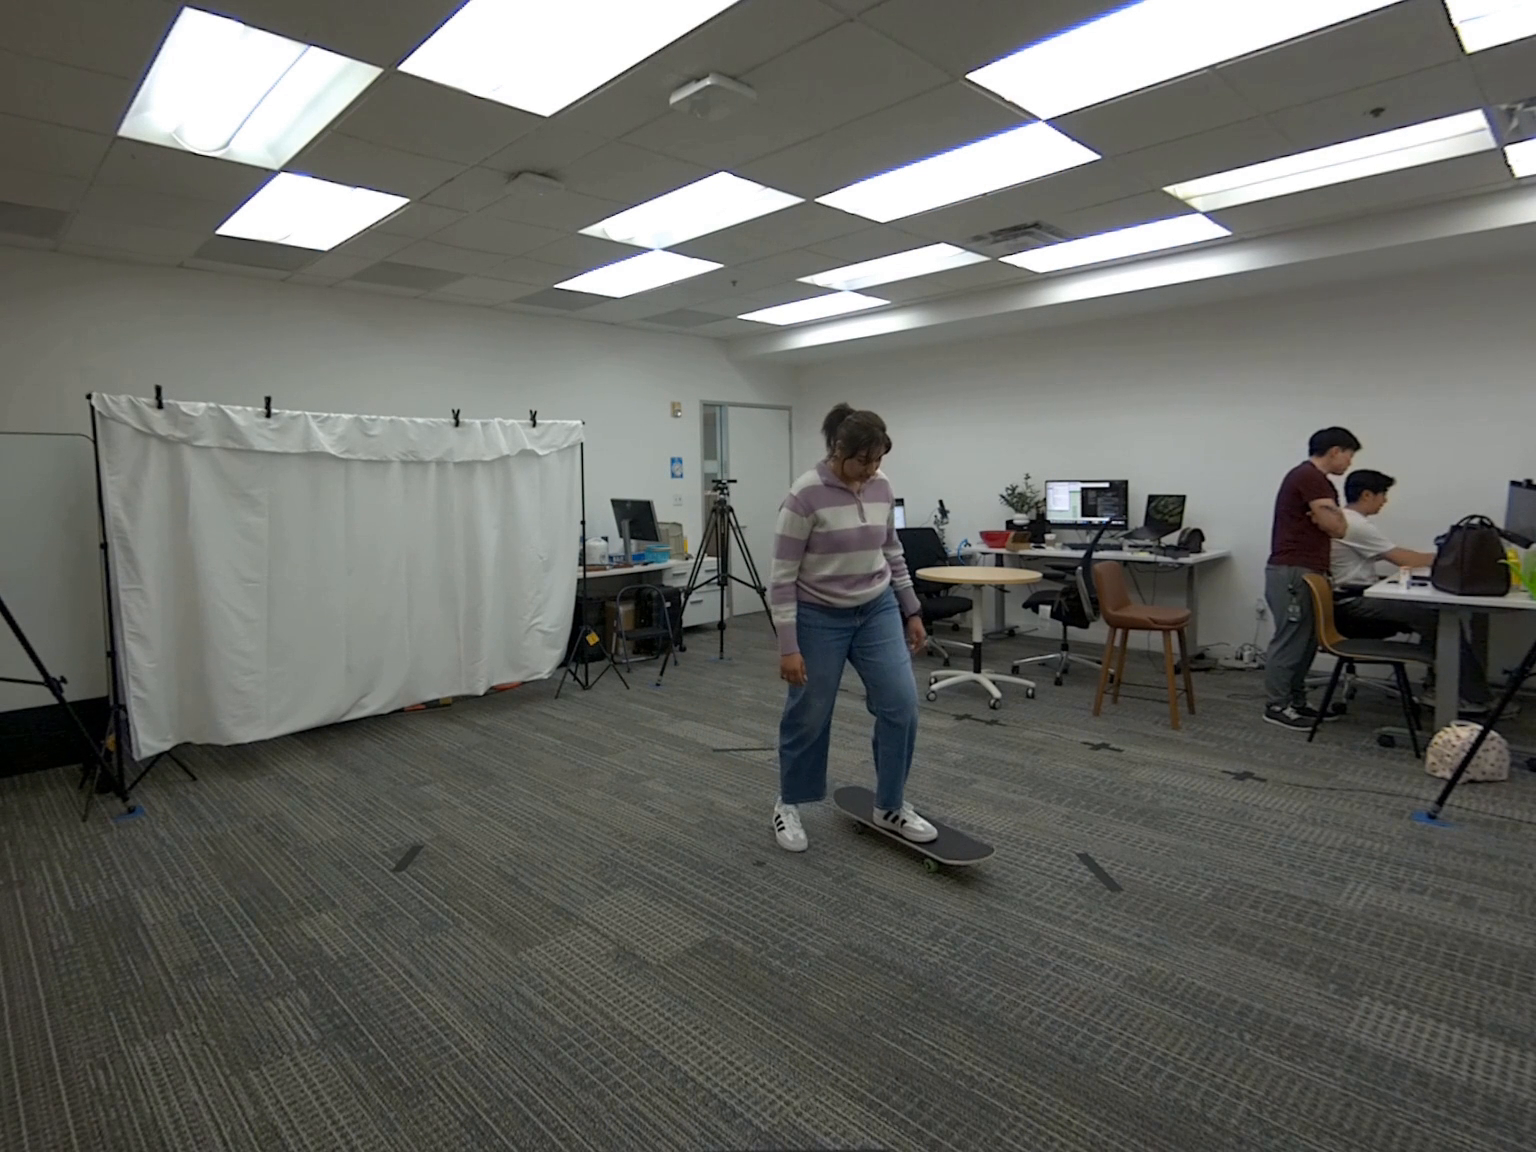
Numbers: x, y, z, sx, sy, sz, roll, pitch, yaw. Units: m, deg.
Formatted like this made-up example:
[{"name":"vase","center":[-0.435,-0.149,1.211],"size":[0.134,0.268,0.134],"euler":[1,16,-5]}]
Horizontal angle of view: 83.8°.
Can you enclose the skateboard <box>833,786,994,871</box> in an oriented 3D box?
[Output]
[{"name":"skateboard","center":[0.532,0.968,3.217],"size":[0.189,0.109,0.808],"euler":[-10,10,-31]}]
